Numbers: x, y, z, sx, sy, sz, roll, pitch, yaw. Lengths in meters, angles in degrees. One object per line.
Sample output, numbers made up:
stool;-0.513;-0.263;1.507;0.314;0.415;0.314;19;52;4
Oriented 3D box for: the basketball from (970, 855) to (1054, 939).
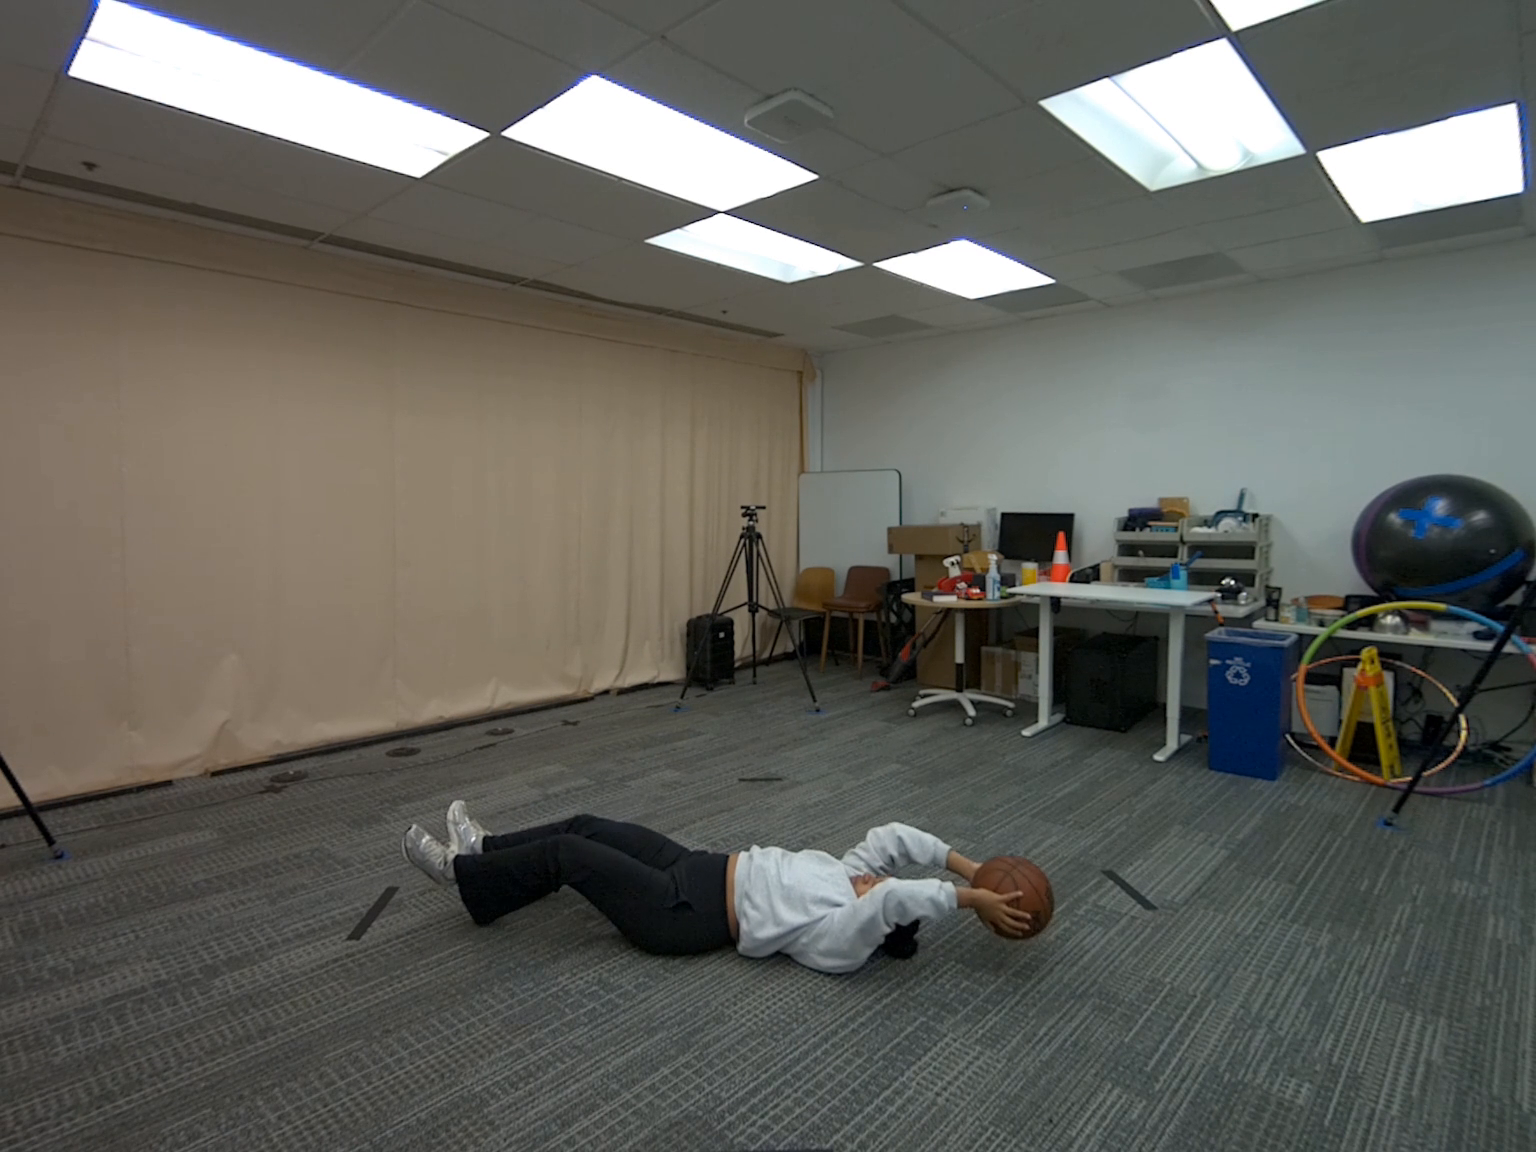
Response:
basketball;0.732;0.952;2.545;0.235;0.235;0.237;1;4;-2
